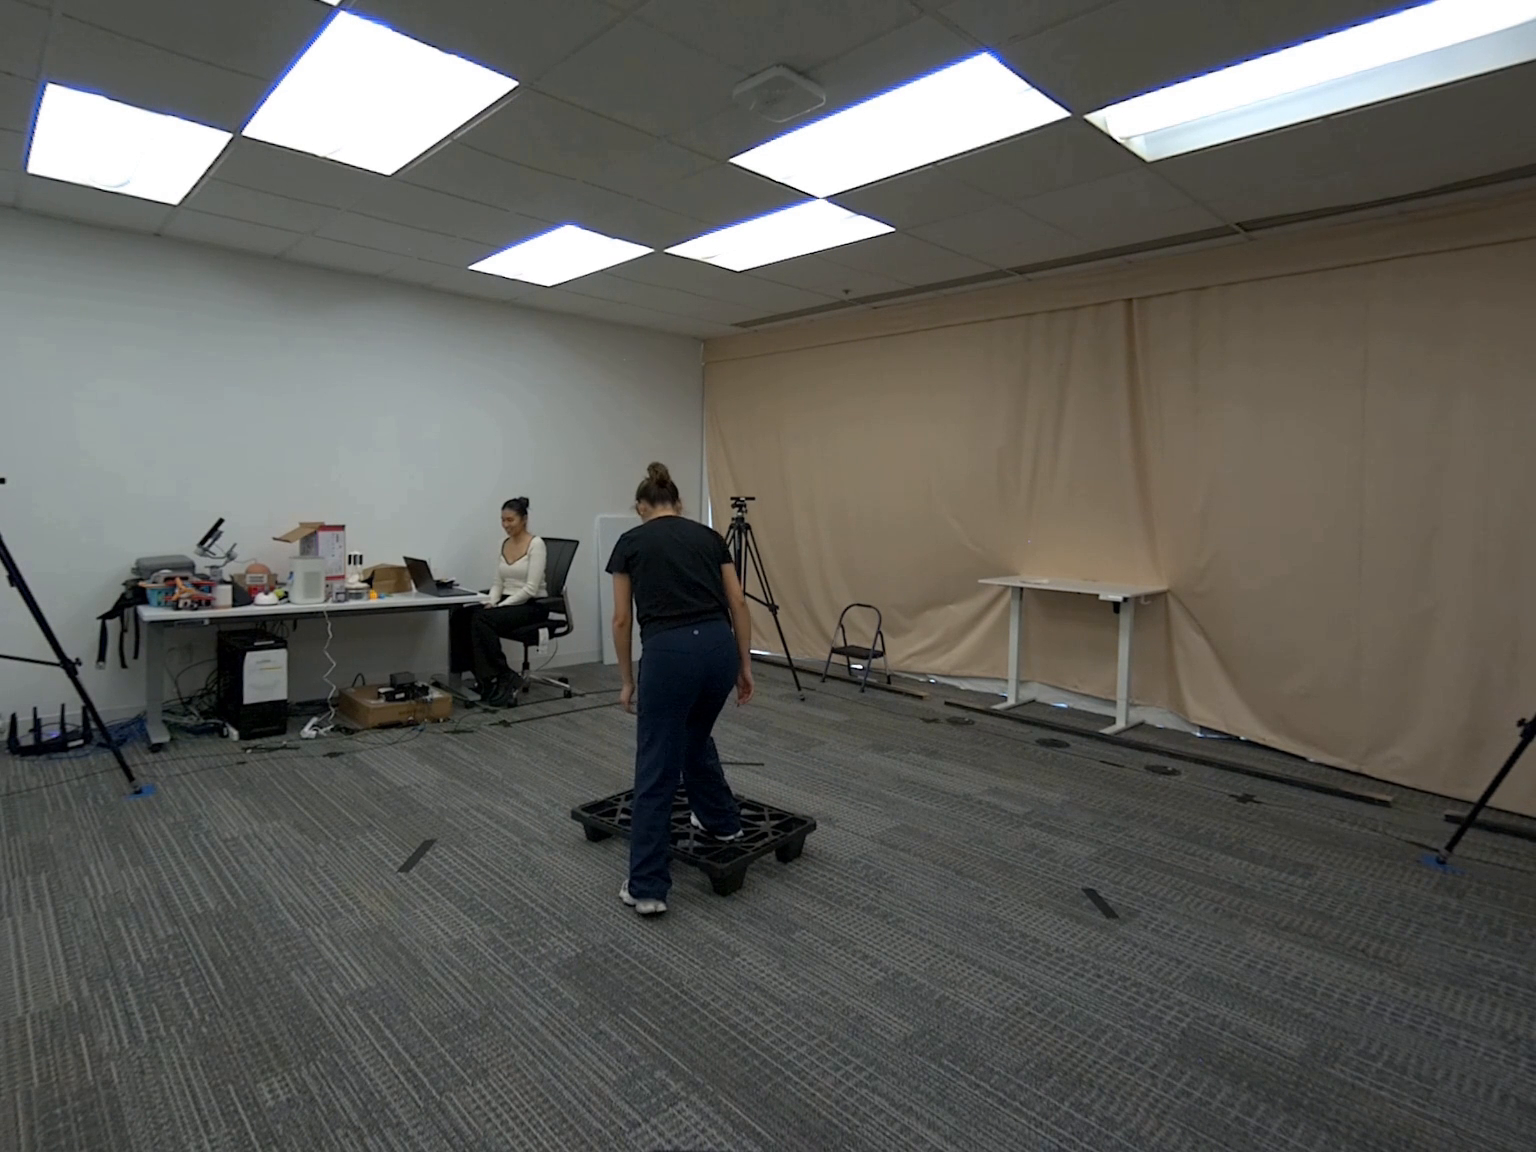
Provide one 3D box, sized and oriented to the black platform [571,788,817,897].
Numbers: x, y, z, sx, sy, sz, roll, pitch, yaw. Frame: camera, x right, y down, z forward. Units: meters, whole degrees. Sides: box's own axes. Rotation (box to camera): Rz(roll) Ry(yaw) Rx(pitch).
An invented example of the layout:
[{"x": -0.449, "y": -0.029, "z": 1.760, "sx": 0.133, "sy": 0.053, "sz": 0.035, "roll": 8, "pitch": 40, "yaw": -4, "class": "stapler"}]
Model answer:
[{"x": -0.302, "y": 1.016, "z": 3.326, "sx": 0.825, "sy": 0.143, "sz": 0.592, "roll": 5, "pitch": 7, "yaw": 38, "class": "black platform"}]
